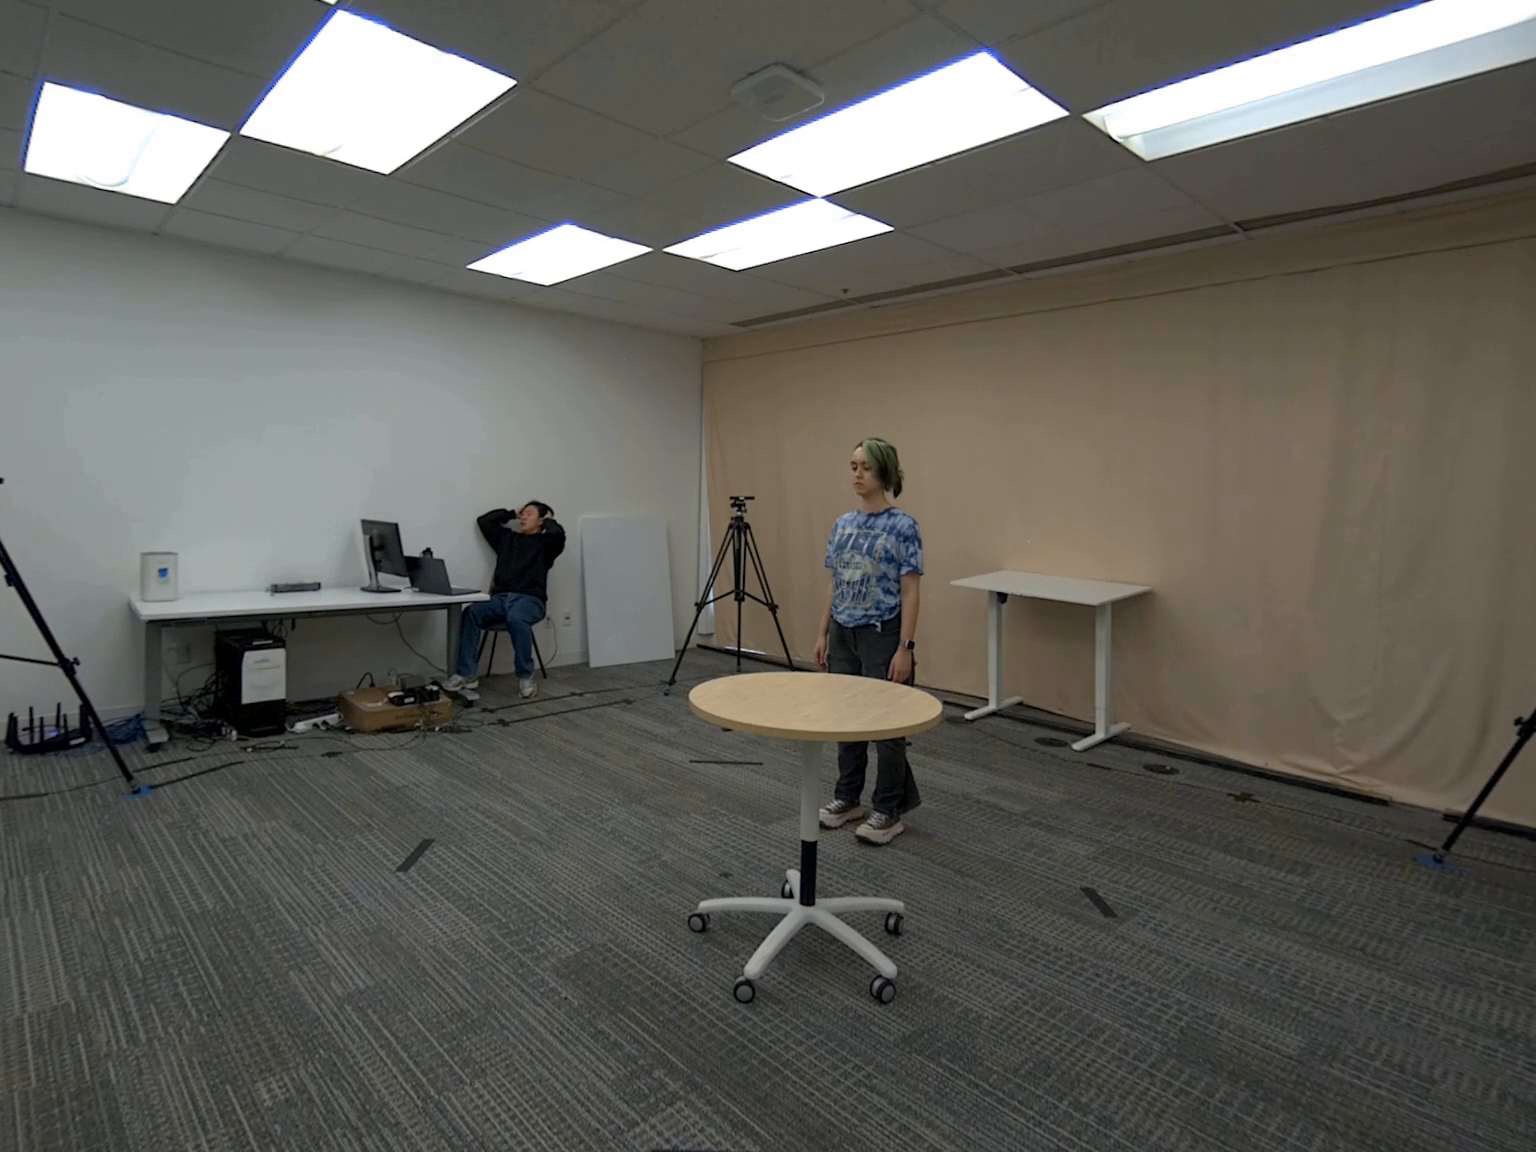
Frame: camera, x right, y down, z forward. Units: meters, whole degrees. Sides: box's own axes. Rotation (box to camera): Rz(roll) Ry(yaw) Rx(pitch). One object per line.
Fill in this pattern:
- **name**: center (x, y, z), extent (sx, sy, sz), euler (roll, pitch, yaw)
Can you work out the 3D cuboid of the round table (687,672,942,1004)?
- **round table**: center (0.120, 0.769, 2.596), extent (0.763, 0.792, 0.767), euler (1, 4, -1)
